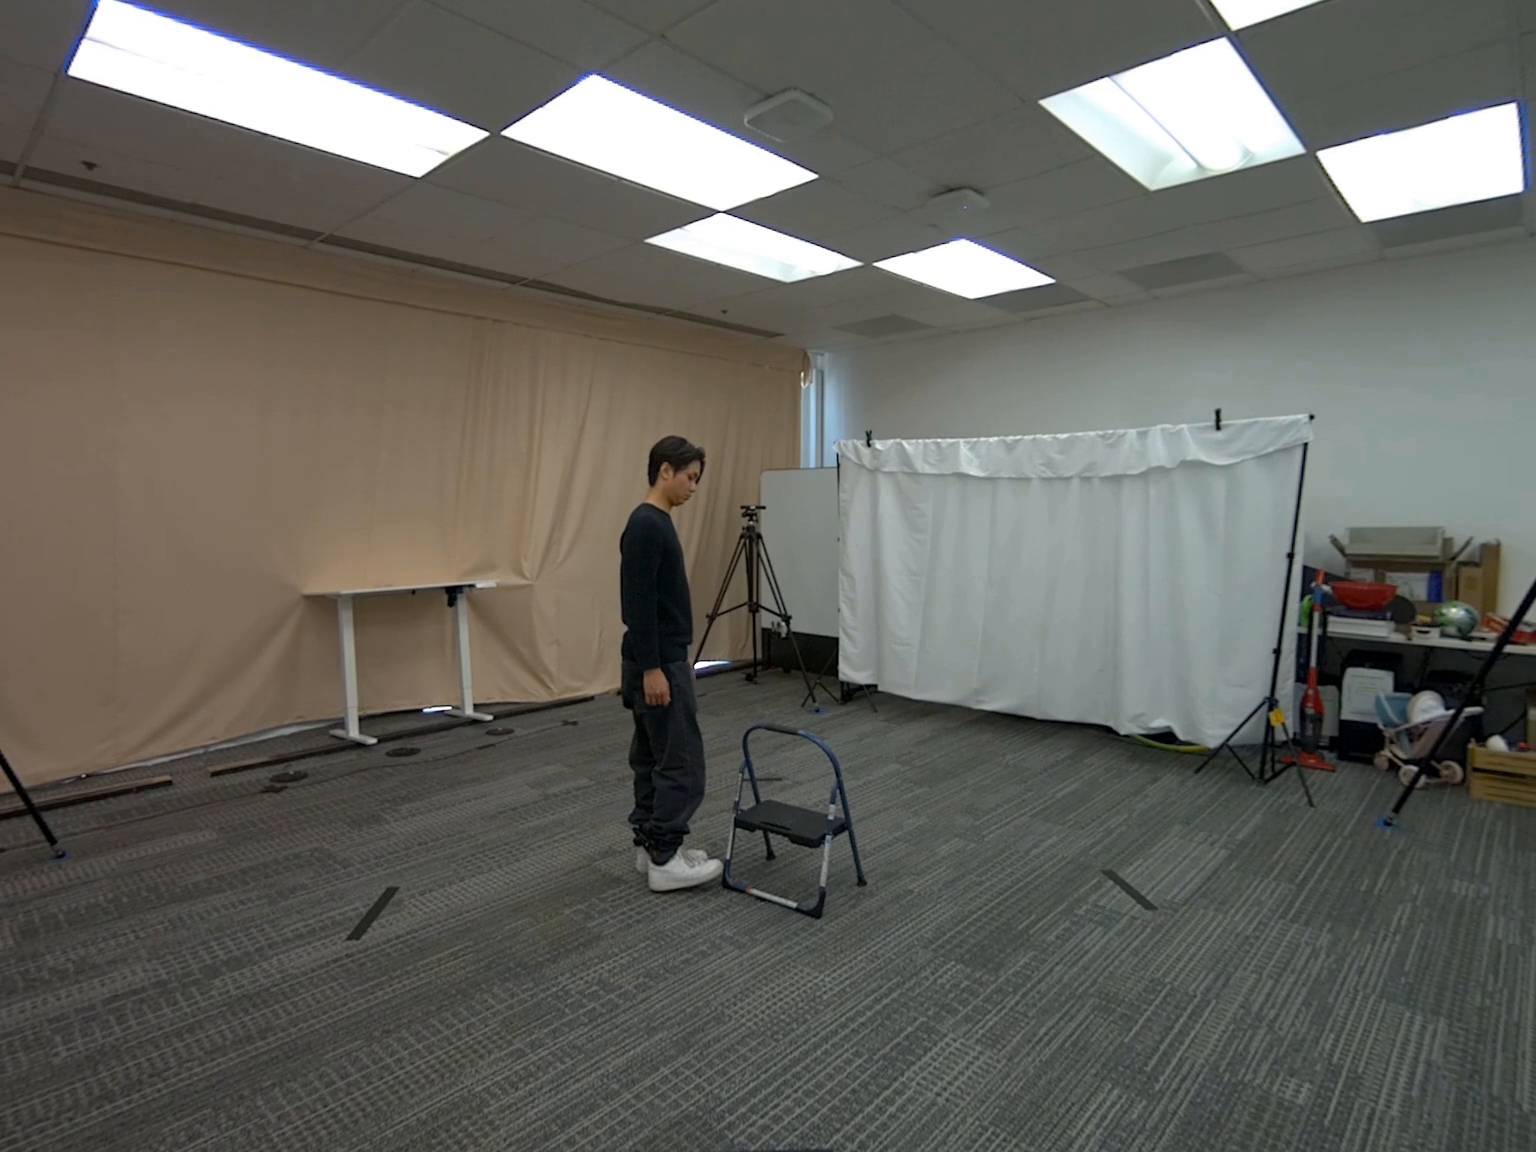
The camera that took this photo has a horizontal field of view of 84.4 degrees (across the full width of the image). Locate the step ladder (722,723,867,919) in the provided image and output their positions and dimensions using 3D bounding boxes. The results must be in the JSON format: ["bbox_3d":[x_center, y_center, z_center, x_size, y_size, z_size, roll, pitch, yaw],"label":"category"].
[{"bbox_3d":[0.098,0.832,3.073,0.444,0.605,0.339,2,3,35],"label":"step ladder"}]
